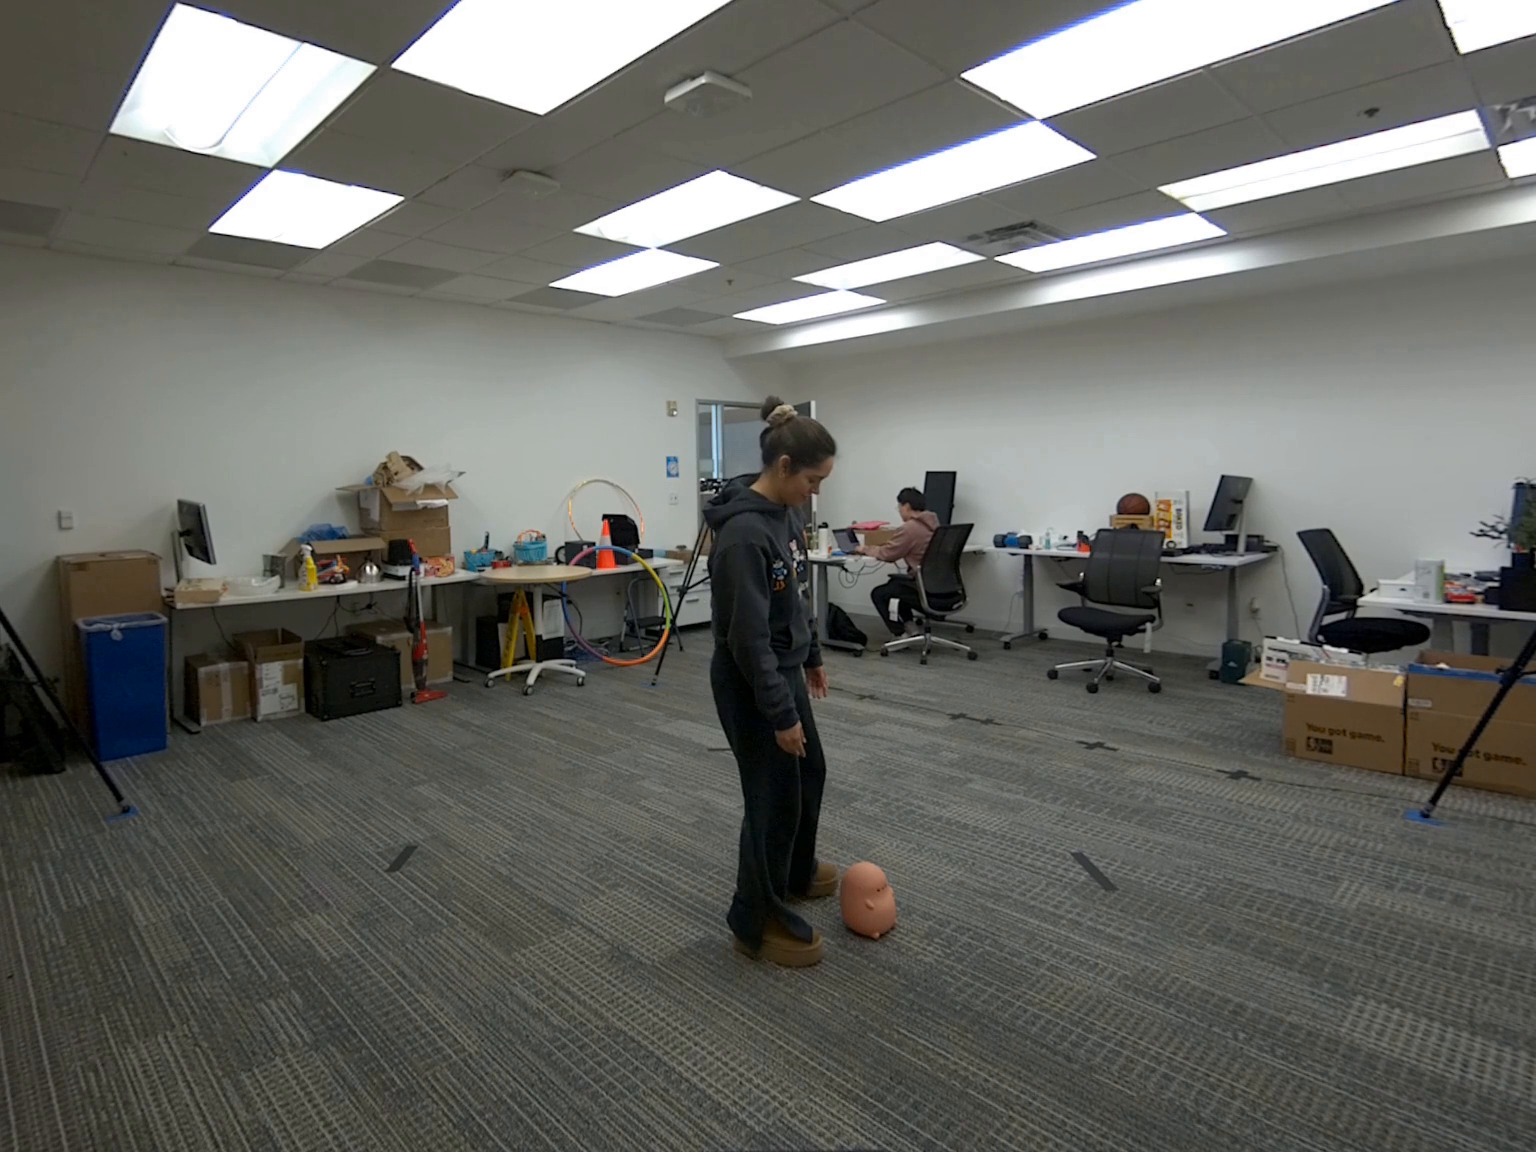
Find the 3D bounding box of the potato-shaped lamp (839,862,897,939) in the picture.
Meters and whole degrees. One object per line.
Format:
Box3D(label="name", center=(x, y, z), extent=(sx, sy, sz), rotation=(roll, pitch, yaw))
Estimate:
Box3D(label="potato-shaped lamp", center=(0.311, 0.993, 2.633), extent=(0.160, 0.197, 0.177), rotation=(-8, 9, -43))
